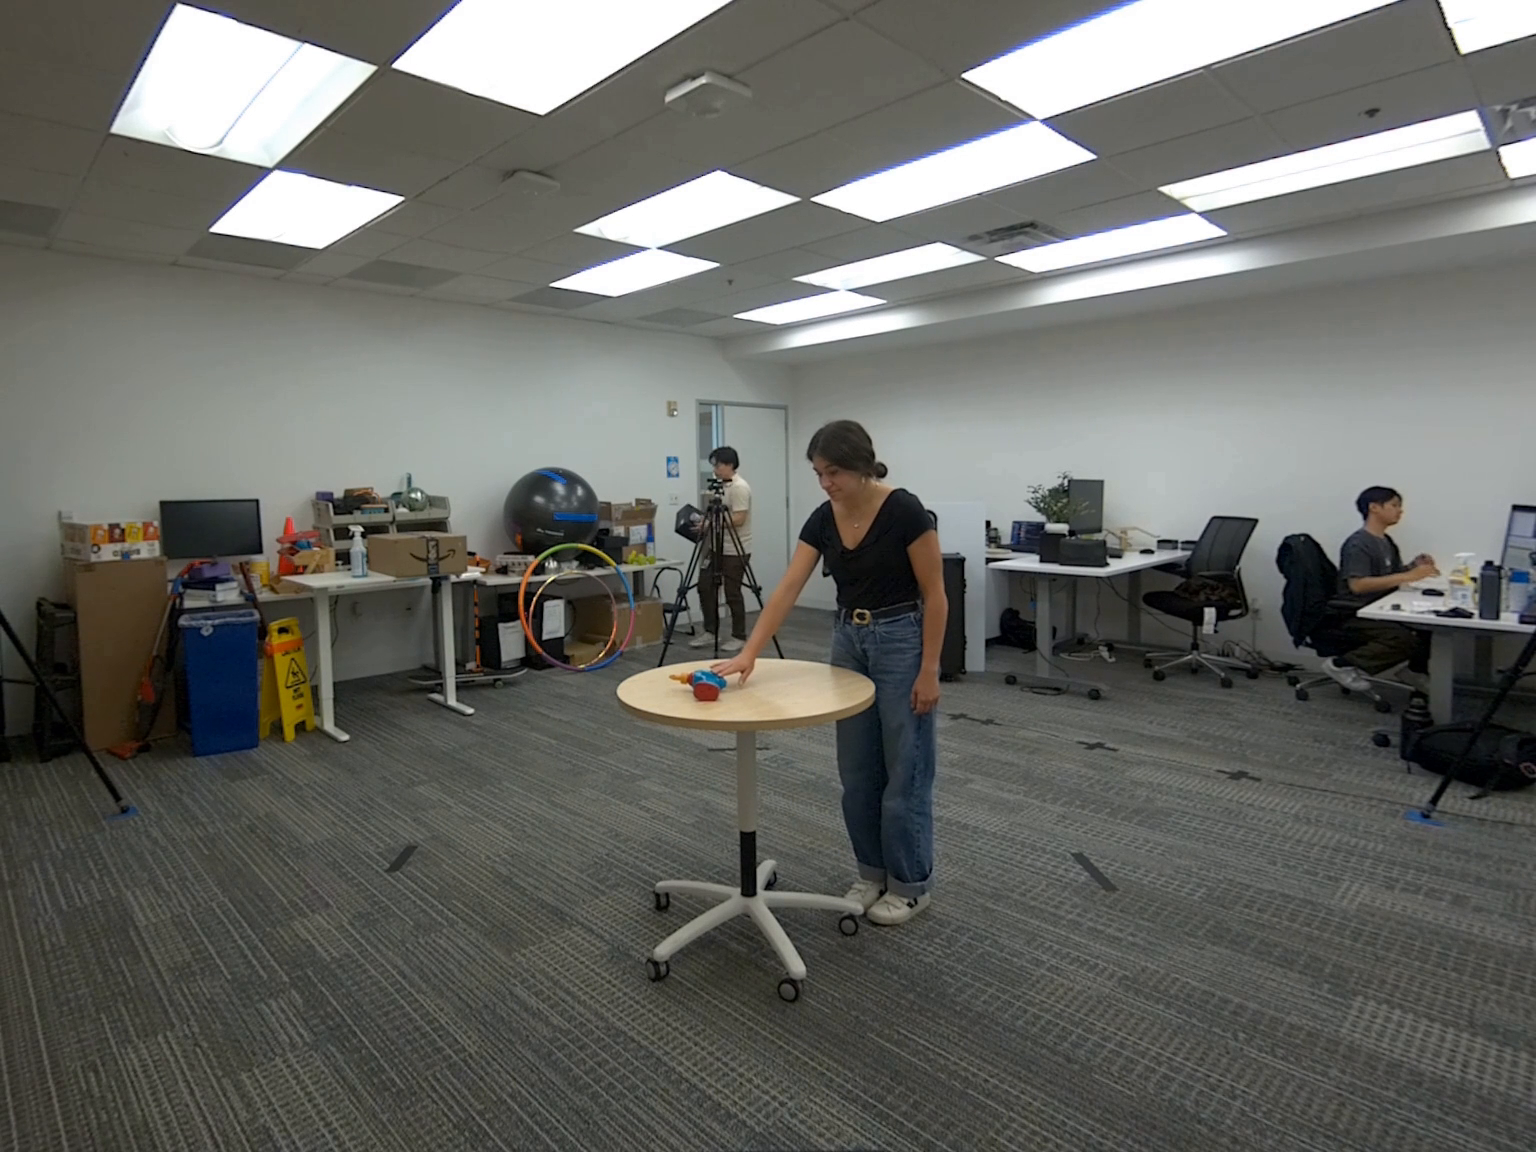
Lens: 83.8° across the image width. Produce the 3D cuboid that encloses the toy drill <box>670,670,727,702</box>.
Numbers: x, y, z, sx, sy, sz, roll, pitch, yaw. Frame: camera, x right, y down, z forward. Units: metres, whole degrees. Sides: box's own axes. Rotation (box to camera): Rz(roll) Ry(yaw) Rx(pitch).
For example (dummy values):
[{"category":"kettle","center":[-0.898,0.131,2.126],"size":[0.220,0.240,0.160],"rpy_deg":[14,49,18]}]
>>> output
[{"category":"toy drill","center":[-0.200,0.310,2.449],"size":[0.170,0.061,0.146],"rpy_deg":[7,6,3]}]
